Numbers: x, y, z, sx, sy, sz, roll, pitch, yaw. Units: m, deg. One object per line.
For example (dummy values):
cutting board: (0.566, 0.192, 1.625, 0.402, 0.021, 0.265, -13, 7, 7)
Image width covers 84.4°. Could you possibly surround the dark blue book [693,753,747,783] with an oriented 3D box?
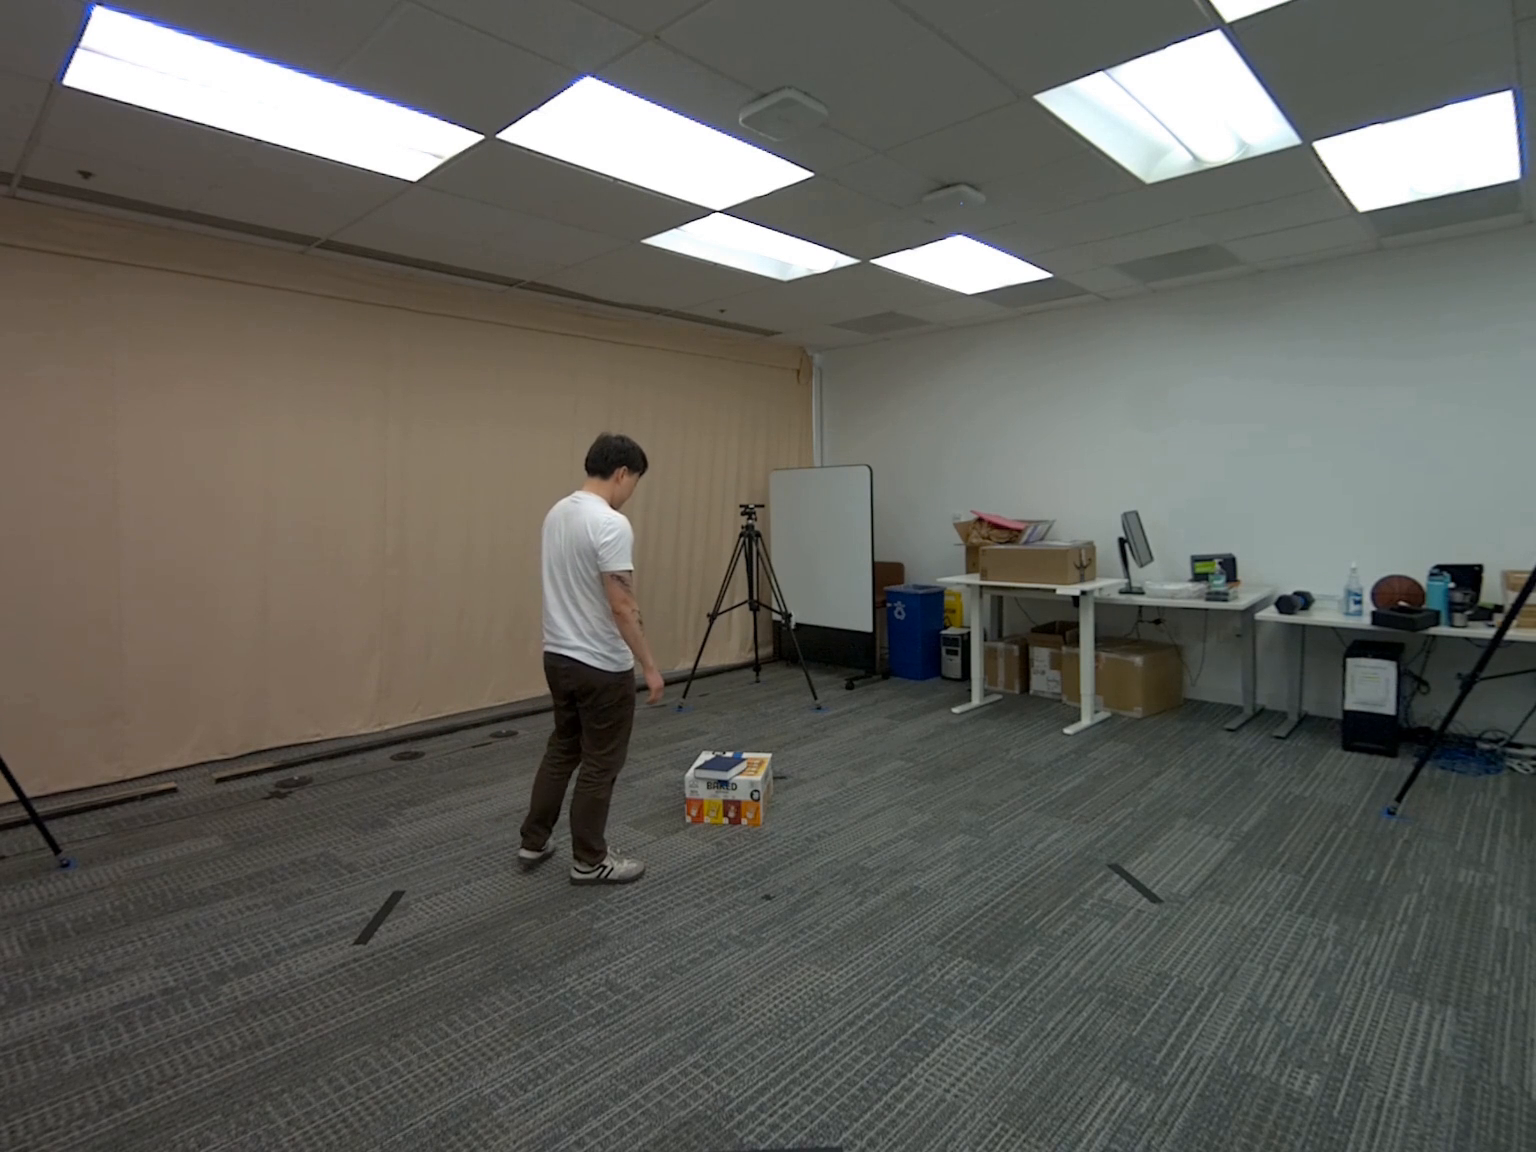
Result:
dark blue book: (-0.204, 0.859, 3.780, 0.167, 0.045, 0.240, 0, 2, 21)
